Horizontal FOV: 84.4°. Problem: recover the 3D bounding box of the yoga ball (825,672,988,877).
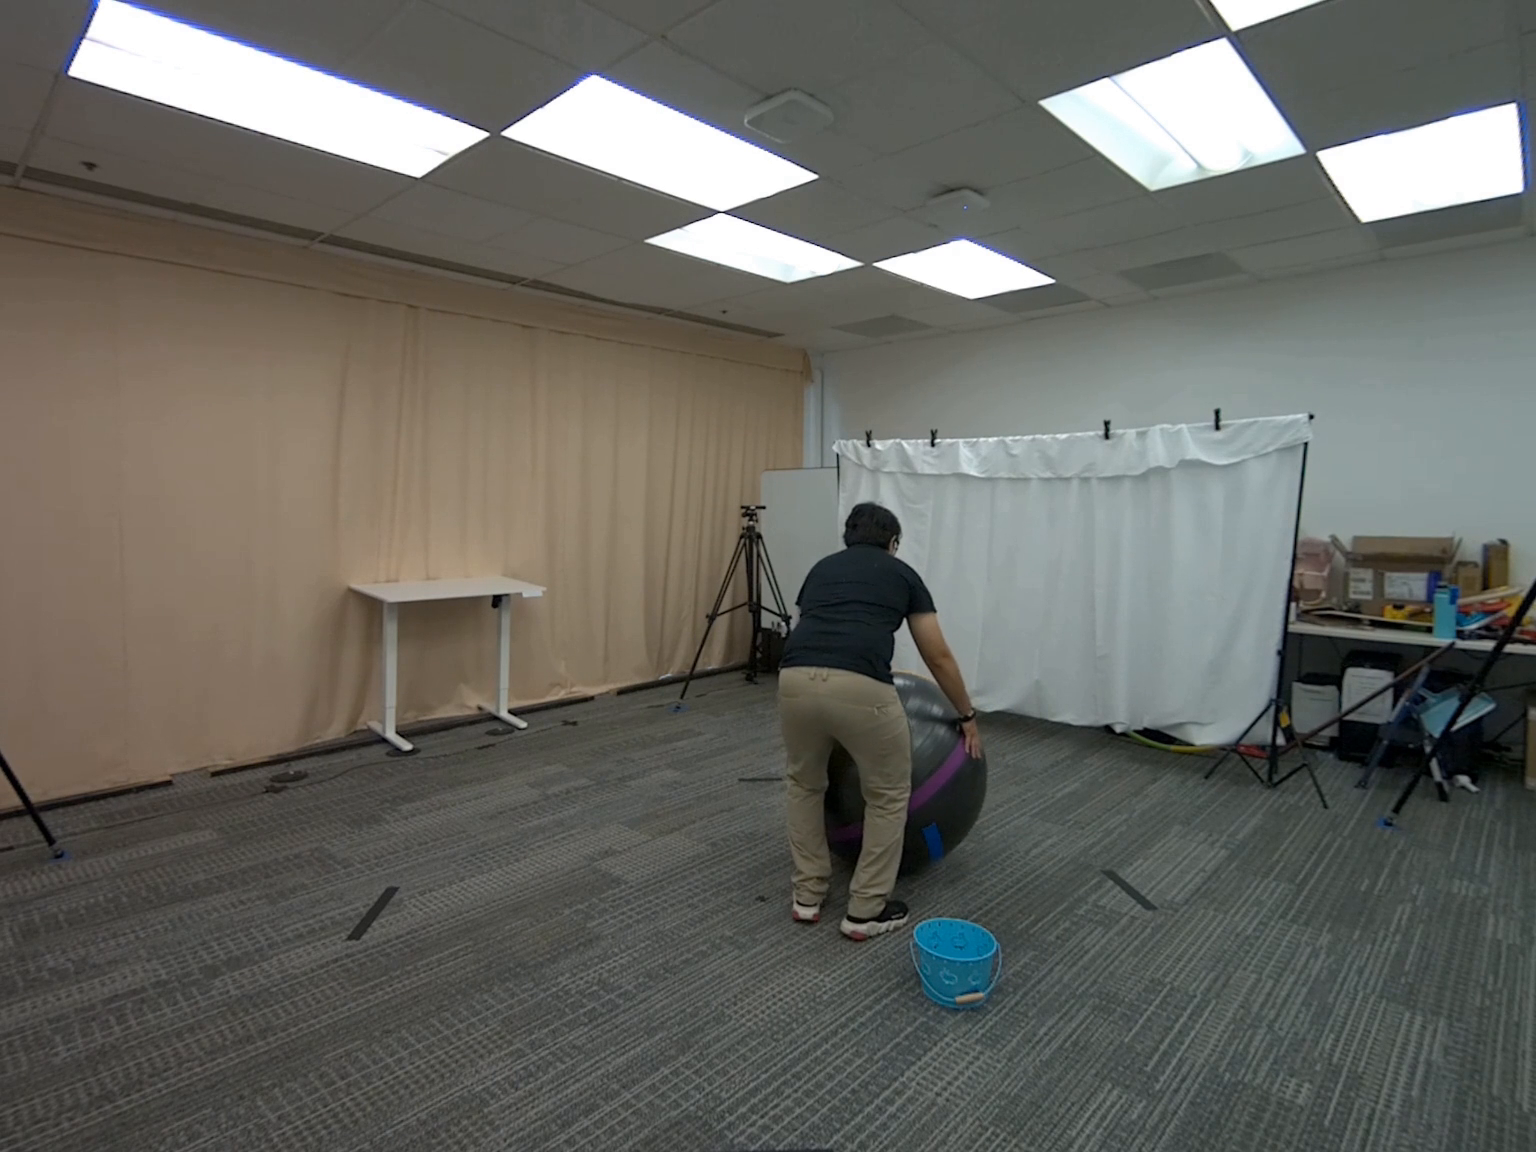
[{"bbox_3d":[0.459,0.745,3.276,0.757,0.756,0.760,0,4,-2],"label":"yoga ball"}]
